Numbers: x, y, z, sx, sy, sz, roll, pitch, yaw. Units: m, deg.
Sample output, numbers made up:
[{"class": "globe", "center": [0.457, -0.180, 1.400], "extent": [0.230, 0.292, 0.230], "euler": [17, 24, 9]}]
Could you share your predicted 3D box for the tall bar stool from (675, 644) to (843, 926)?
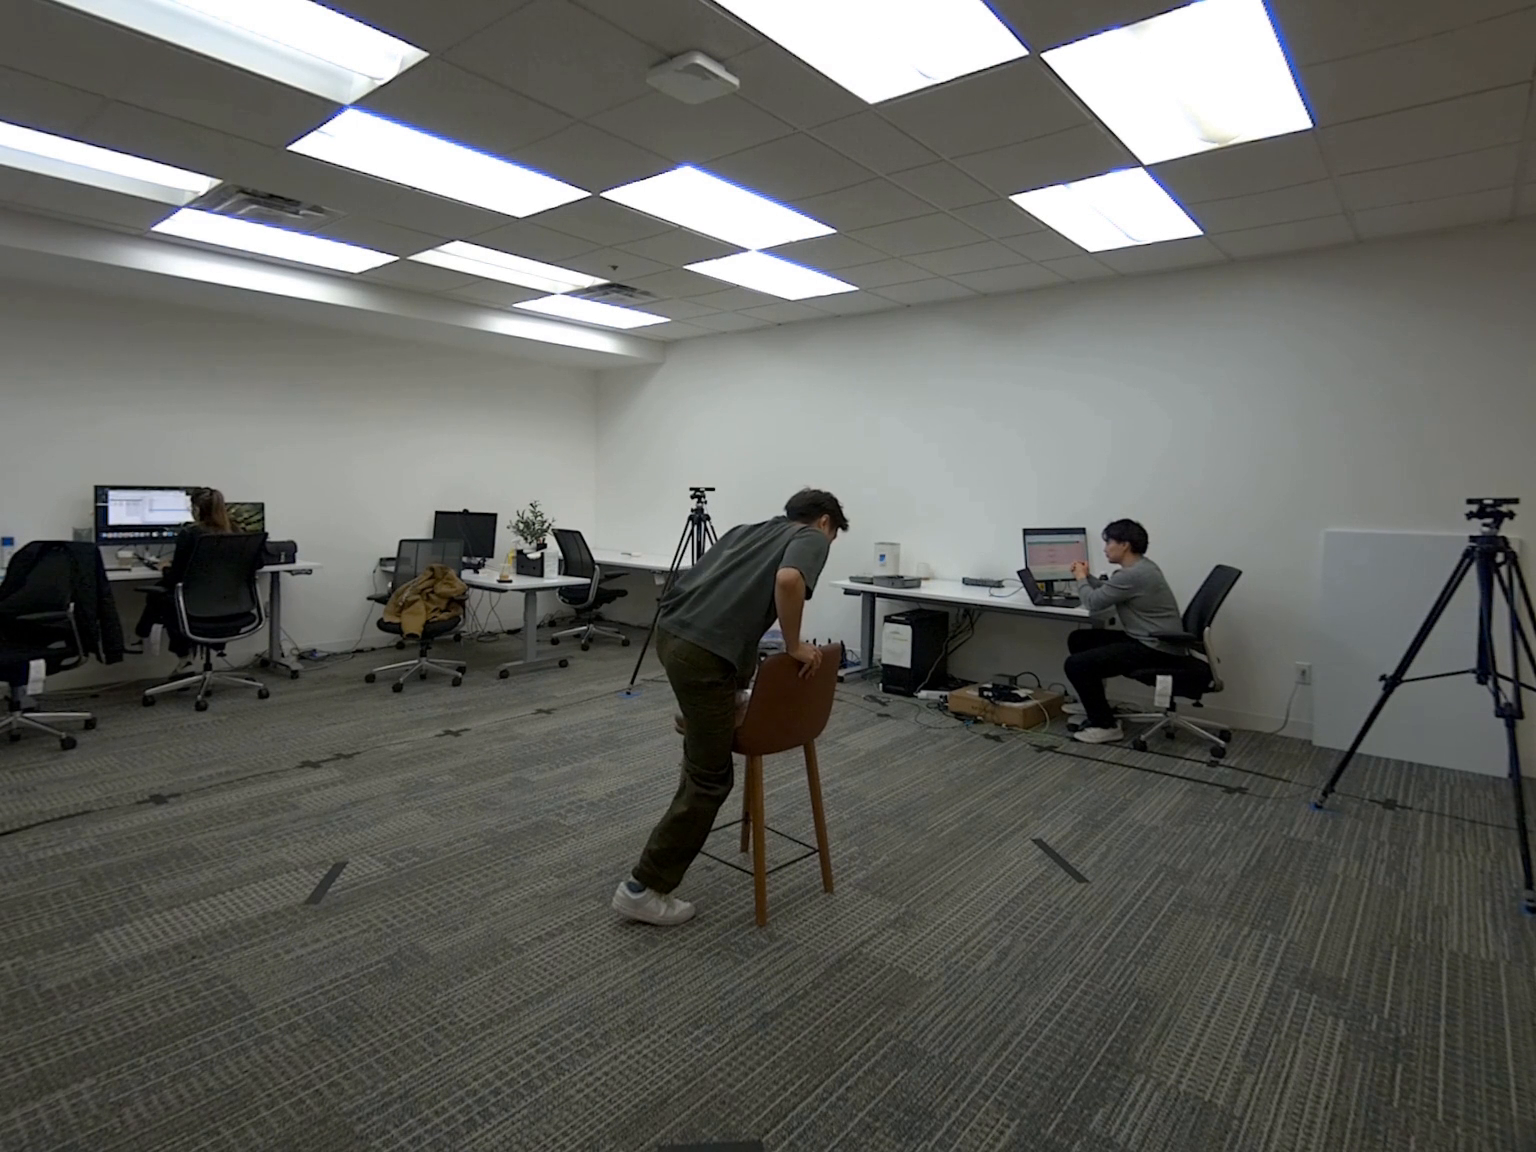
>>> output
[{"class": "tall bar stool", "center": [-0.048, 0.648, 2.961], "extent": [0.484, 0.886, 0.442], "euler": [8, 7, 44]}]
